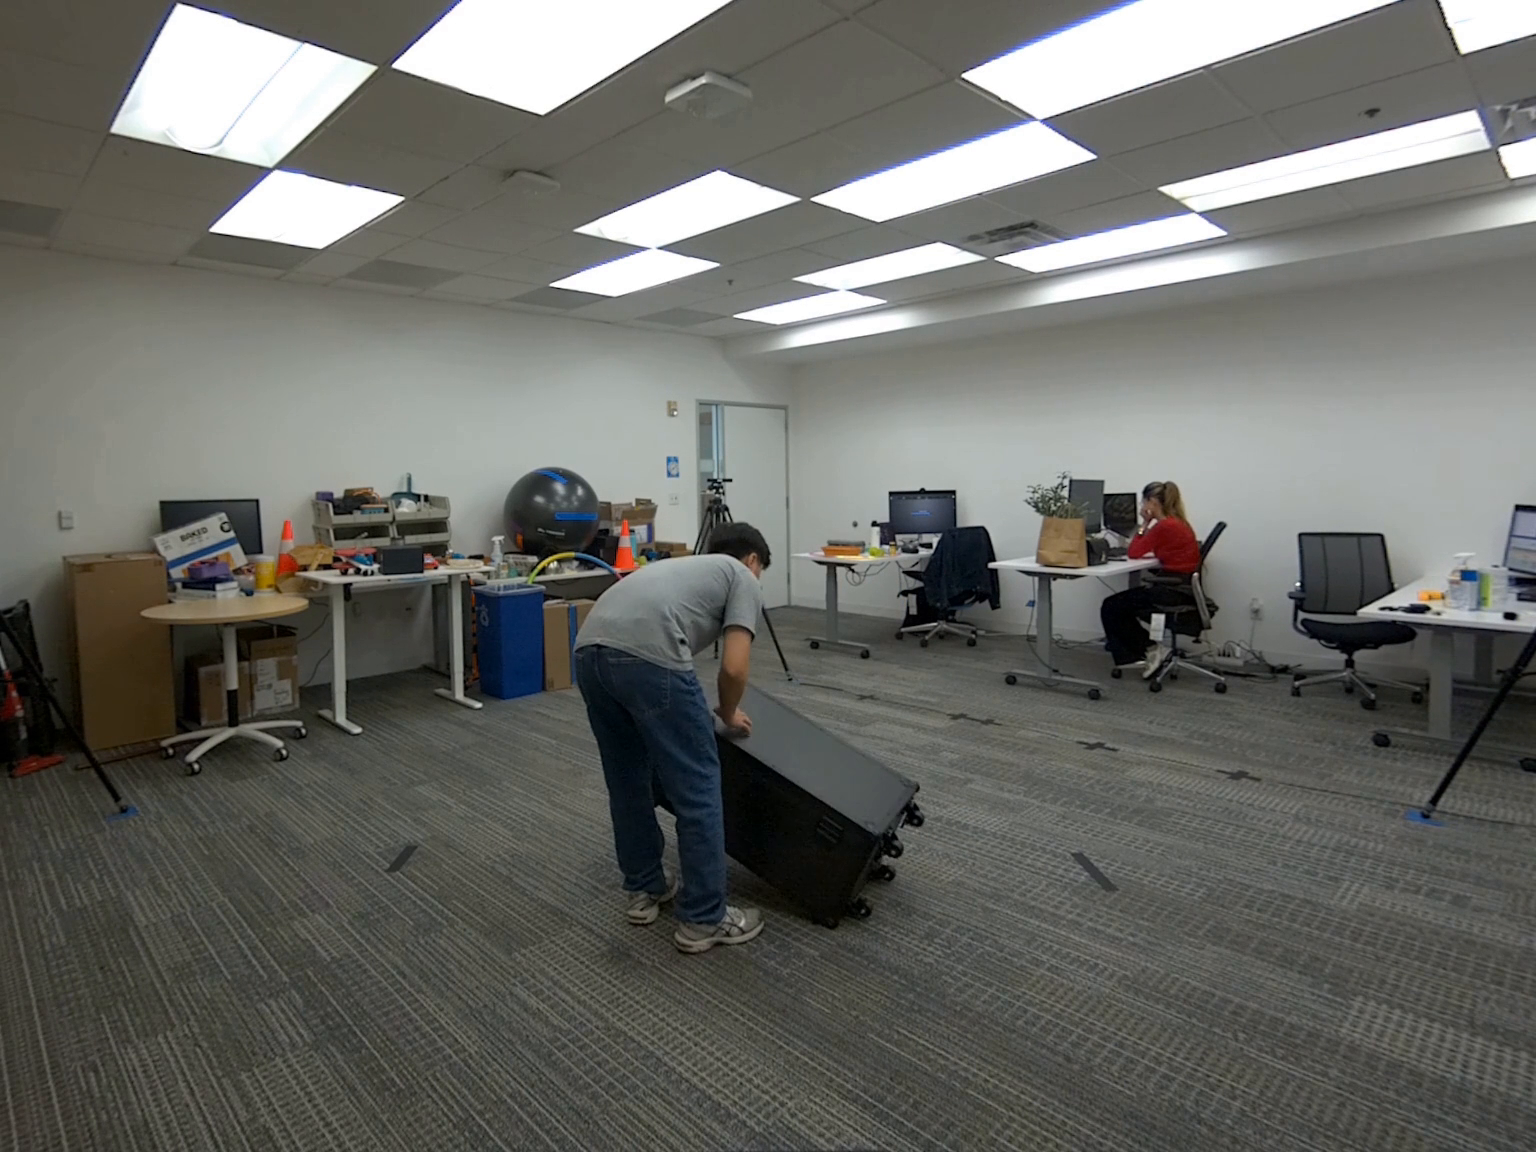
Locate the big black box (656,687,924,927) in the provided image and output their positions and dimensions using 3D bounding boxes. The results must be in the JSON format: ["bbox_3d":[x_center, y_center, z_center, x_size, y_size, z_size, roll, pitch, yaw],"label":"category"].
[{"bbox_3d":[0.068,0.759,2.950,0.885,0.393,0.511,27,17,22],"label":"big black box"}]
